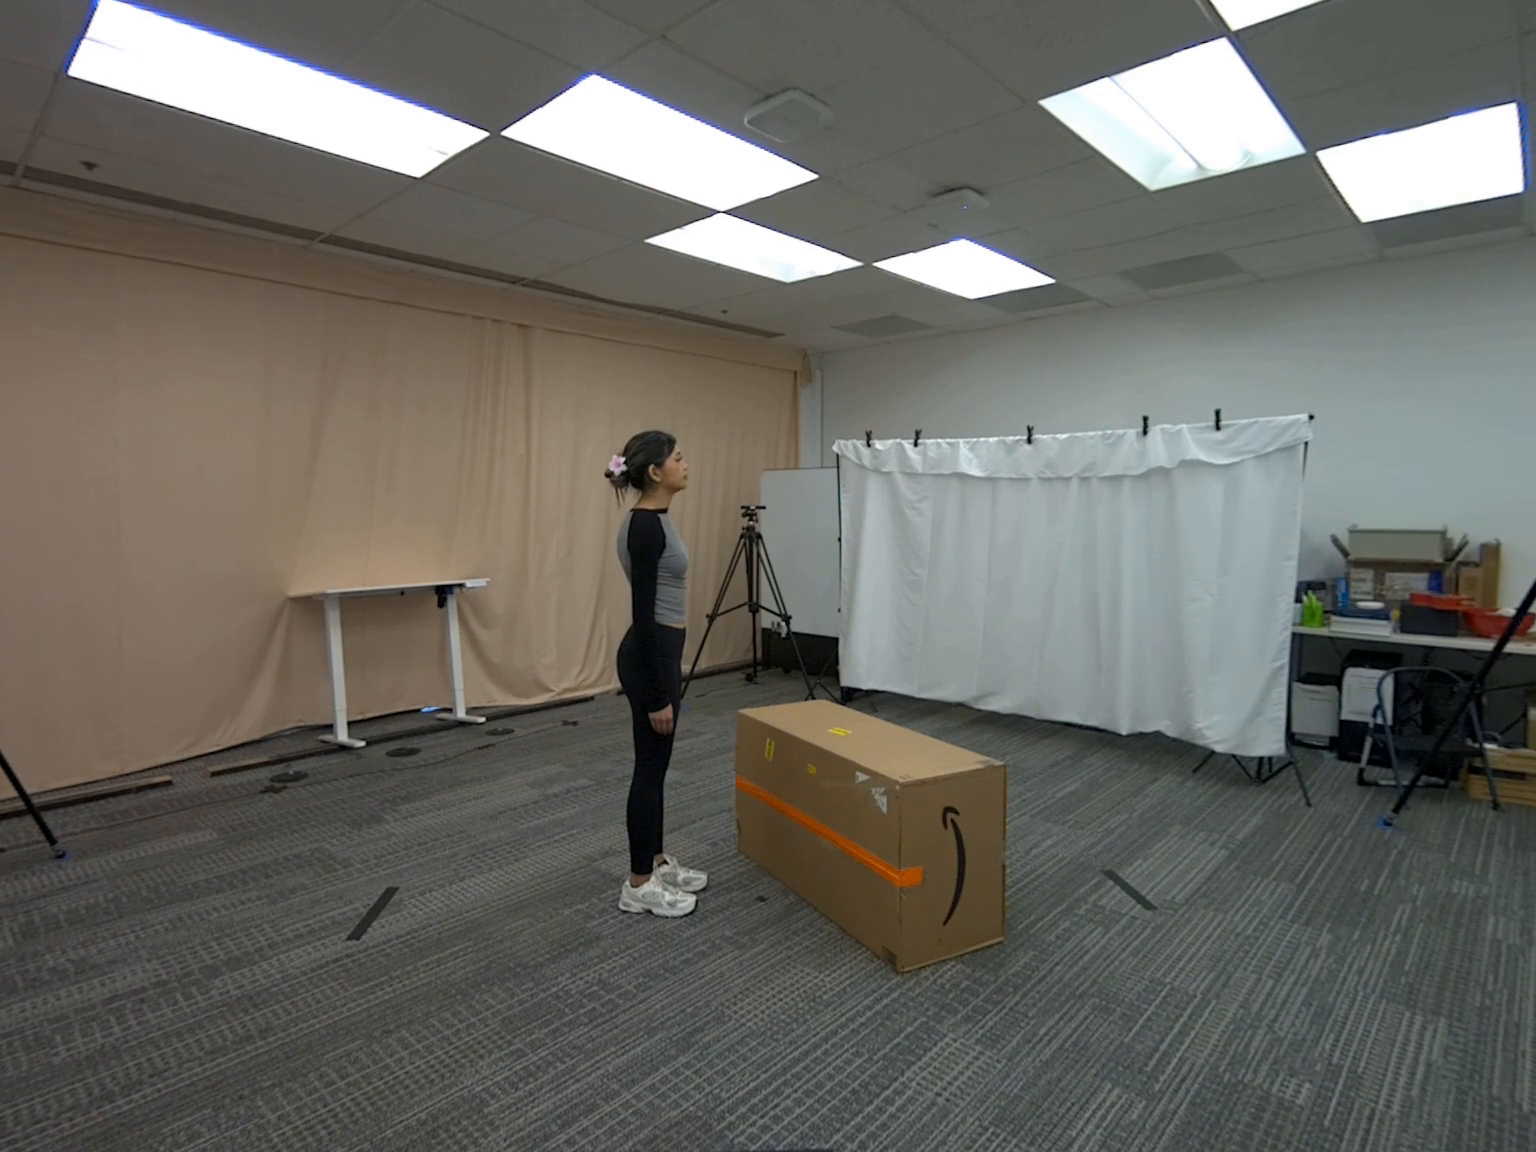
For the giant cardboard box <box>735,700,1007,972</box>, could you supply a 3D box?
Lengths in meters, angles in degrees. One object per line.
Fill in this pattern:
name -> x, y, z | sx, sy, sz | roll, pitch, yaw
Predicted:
giant cardboard box -> 0.315, 0.849, 3.033 | 0.415, 0.576, 1.055 | -2, 4, -29
